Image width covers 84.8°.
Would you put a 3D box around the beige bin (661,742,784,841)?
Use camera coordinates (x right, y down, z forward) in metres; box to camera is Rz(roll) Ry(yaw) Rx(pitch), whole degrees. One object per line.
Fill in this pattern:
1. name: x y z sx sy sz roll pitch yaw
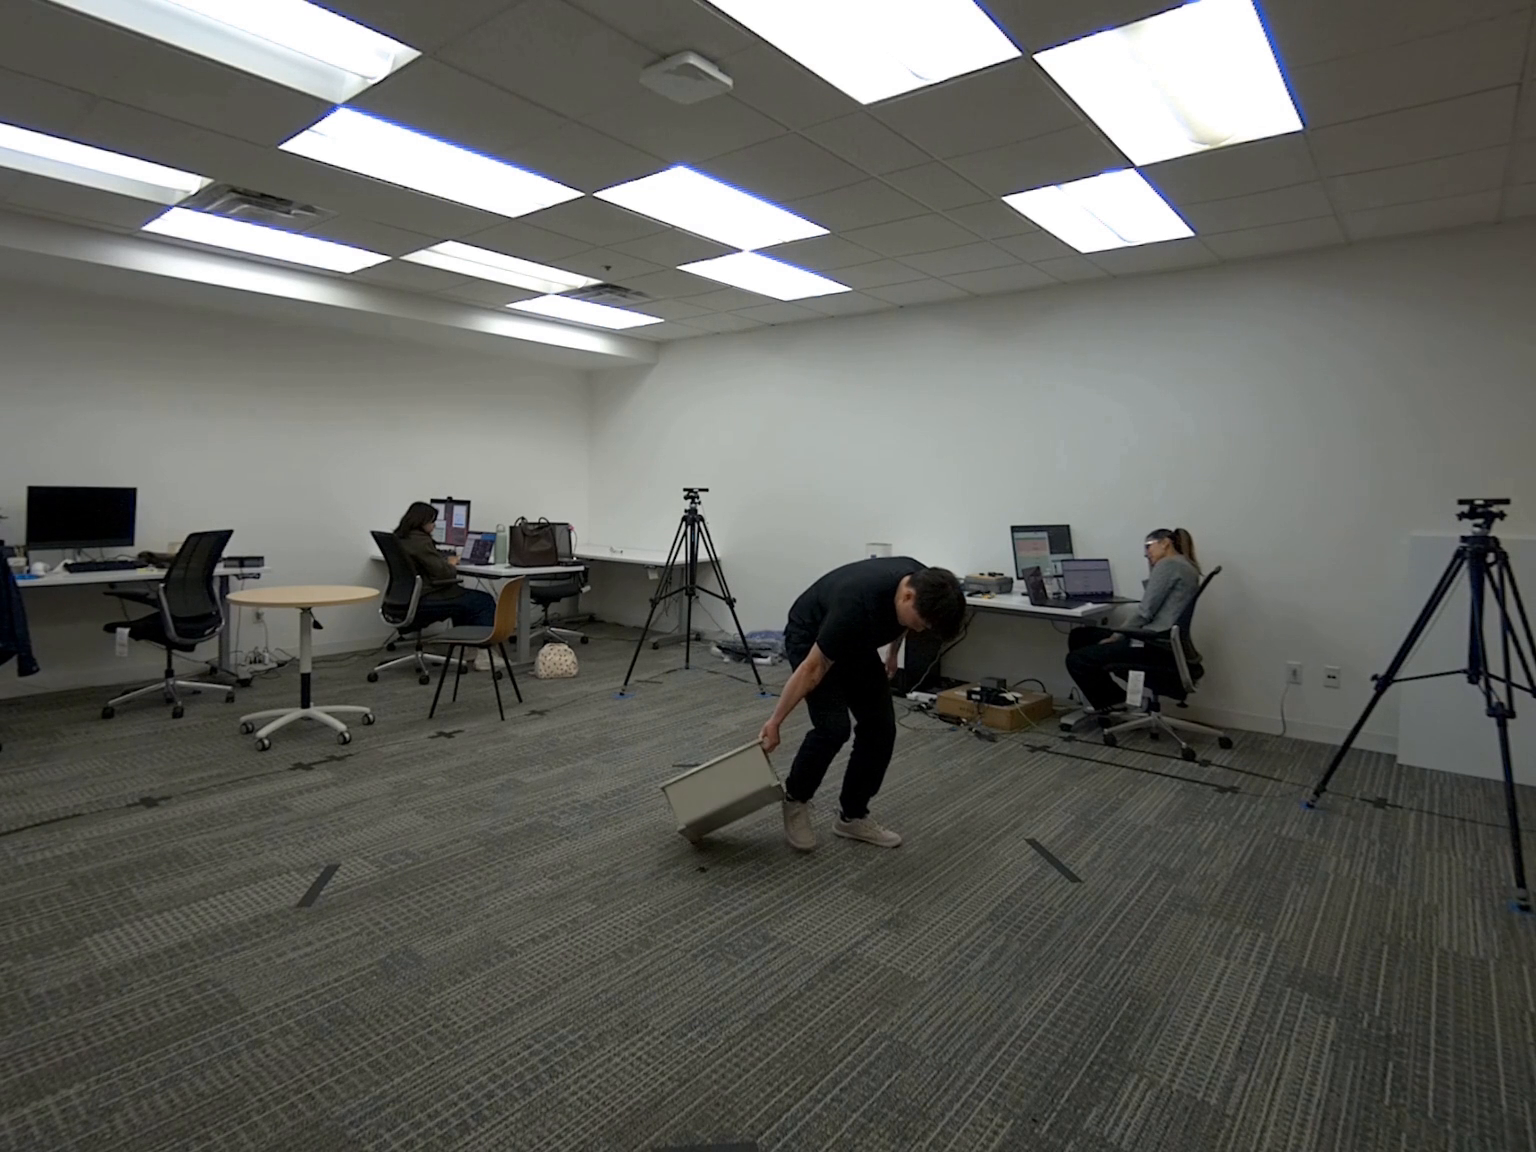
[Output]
1. beige bin: -0.186 0.841 3.288 0.421 0.195 0.367 -23 -24 -5
